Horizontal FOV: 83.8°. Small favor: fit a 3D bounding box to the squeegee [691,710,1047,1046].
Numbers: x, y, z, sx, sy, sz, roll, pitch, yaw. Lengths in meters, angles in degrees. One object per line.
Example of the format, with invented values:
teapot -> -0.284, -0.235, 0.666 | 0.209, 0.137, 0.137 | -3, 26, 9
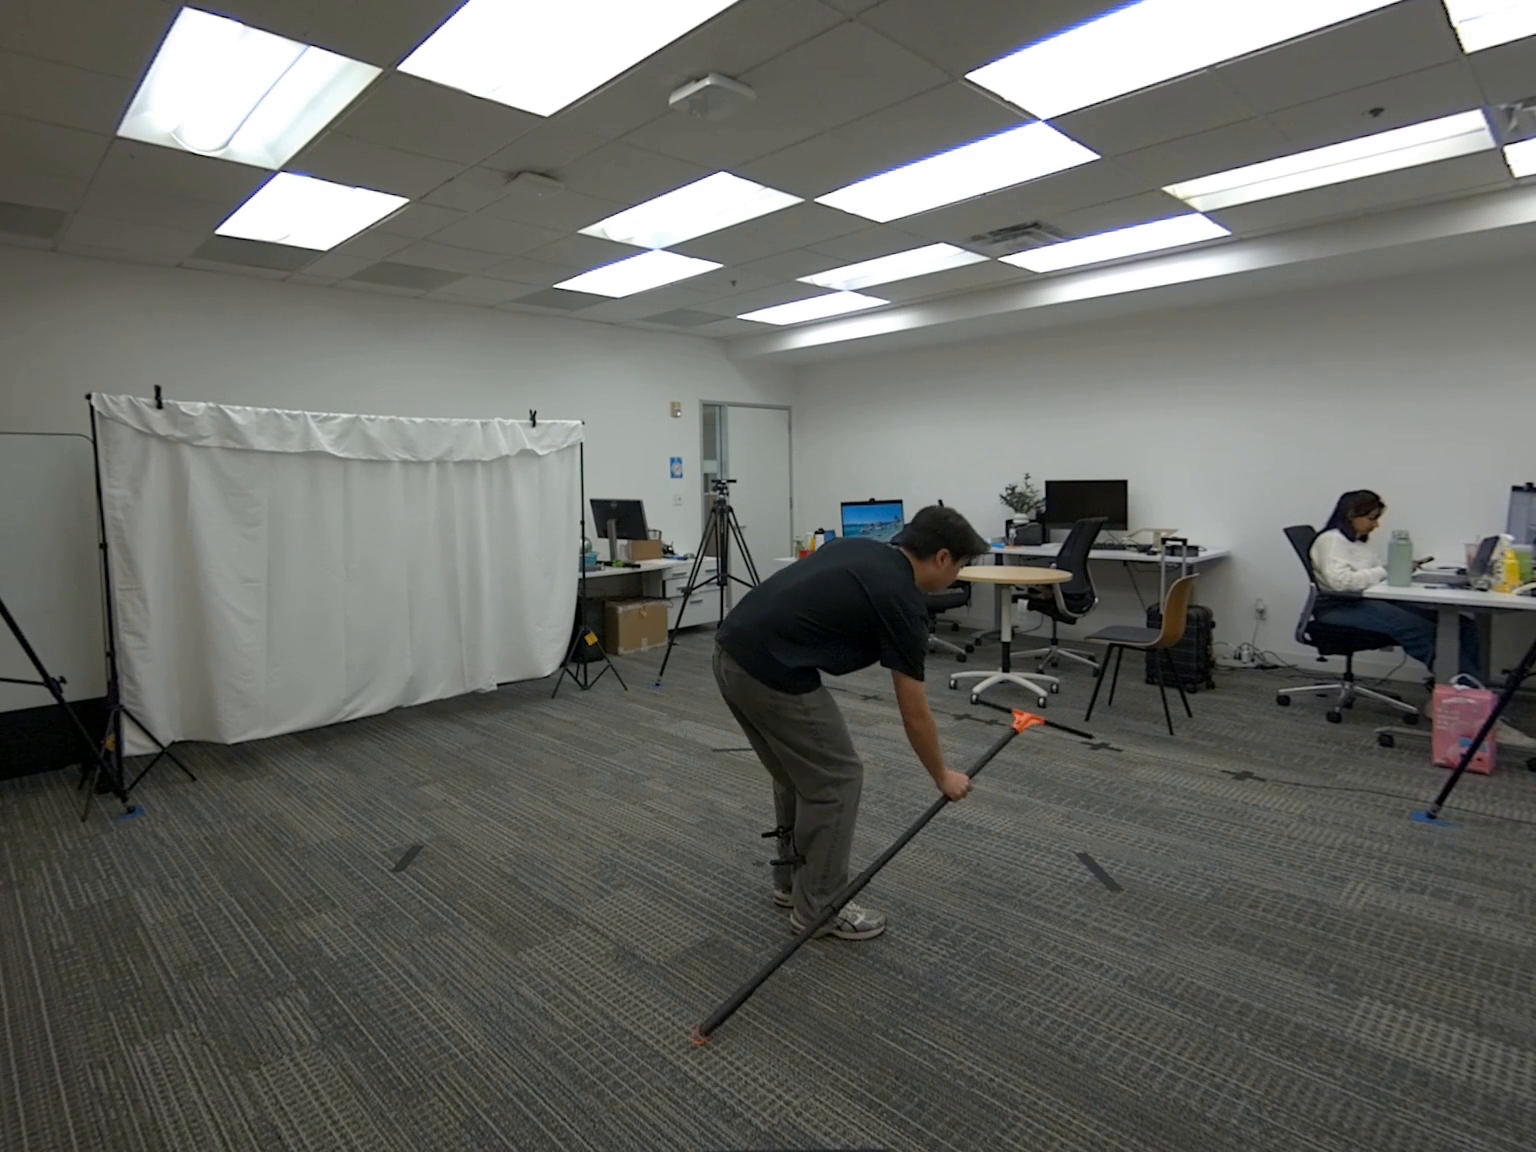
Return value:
squeegee -> 0.383, 0.798, 2.496 | 1.521, 0.052, 0.452 | -30, 26, -32
